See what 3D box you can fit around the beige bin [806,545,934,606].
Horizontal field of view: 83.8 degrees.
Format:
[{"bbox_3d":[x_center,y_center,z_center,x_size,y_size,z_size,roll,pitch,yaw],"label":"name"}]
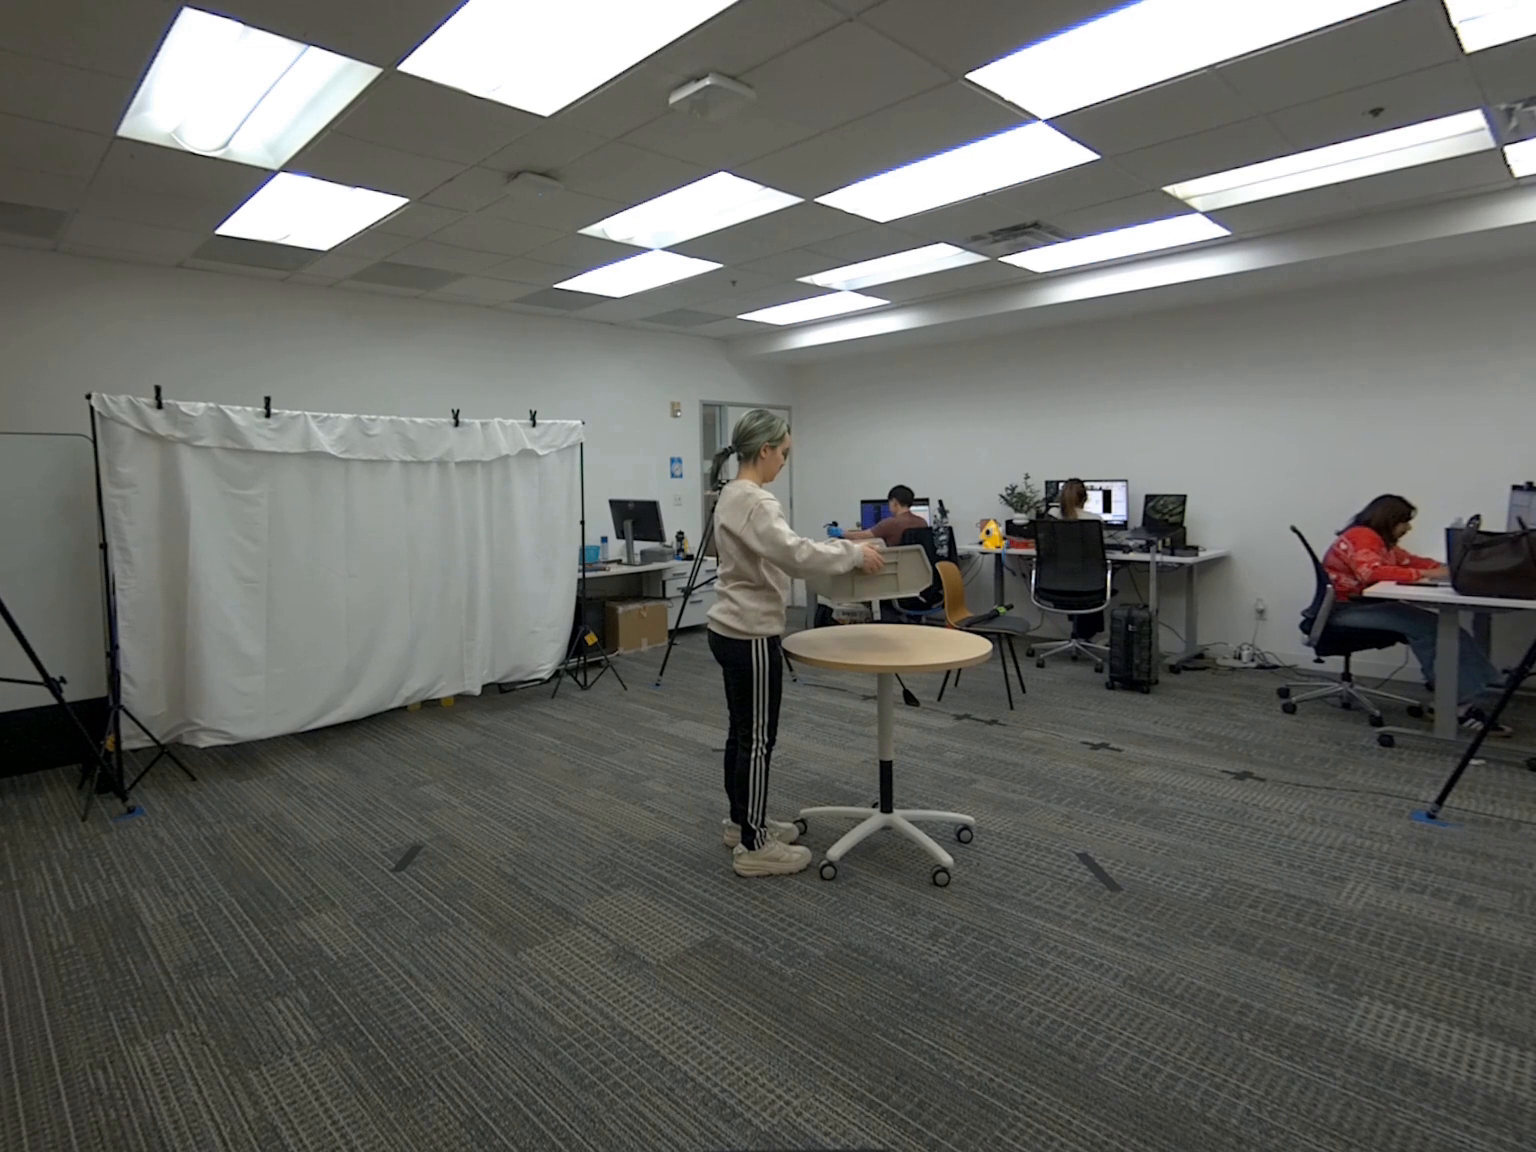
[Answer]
[{"bbox_3d":[0.359,-0.017,3.173,0.375,0.188,0.427,-6,5,-9],"label":"beige bin"}]
